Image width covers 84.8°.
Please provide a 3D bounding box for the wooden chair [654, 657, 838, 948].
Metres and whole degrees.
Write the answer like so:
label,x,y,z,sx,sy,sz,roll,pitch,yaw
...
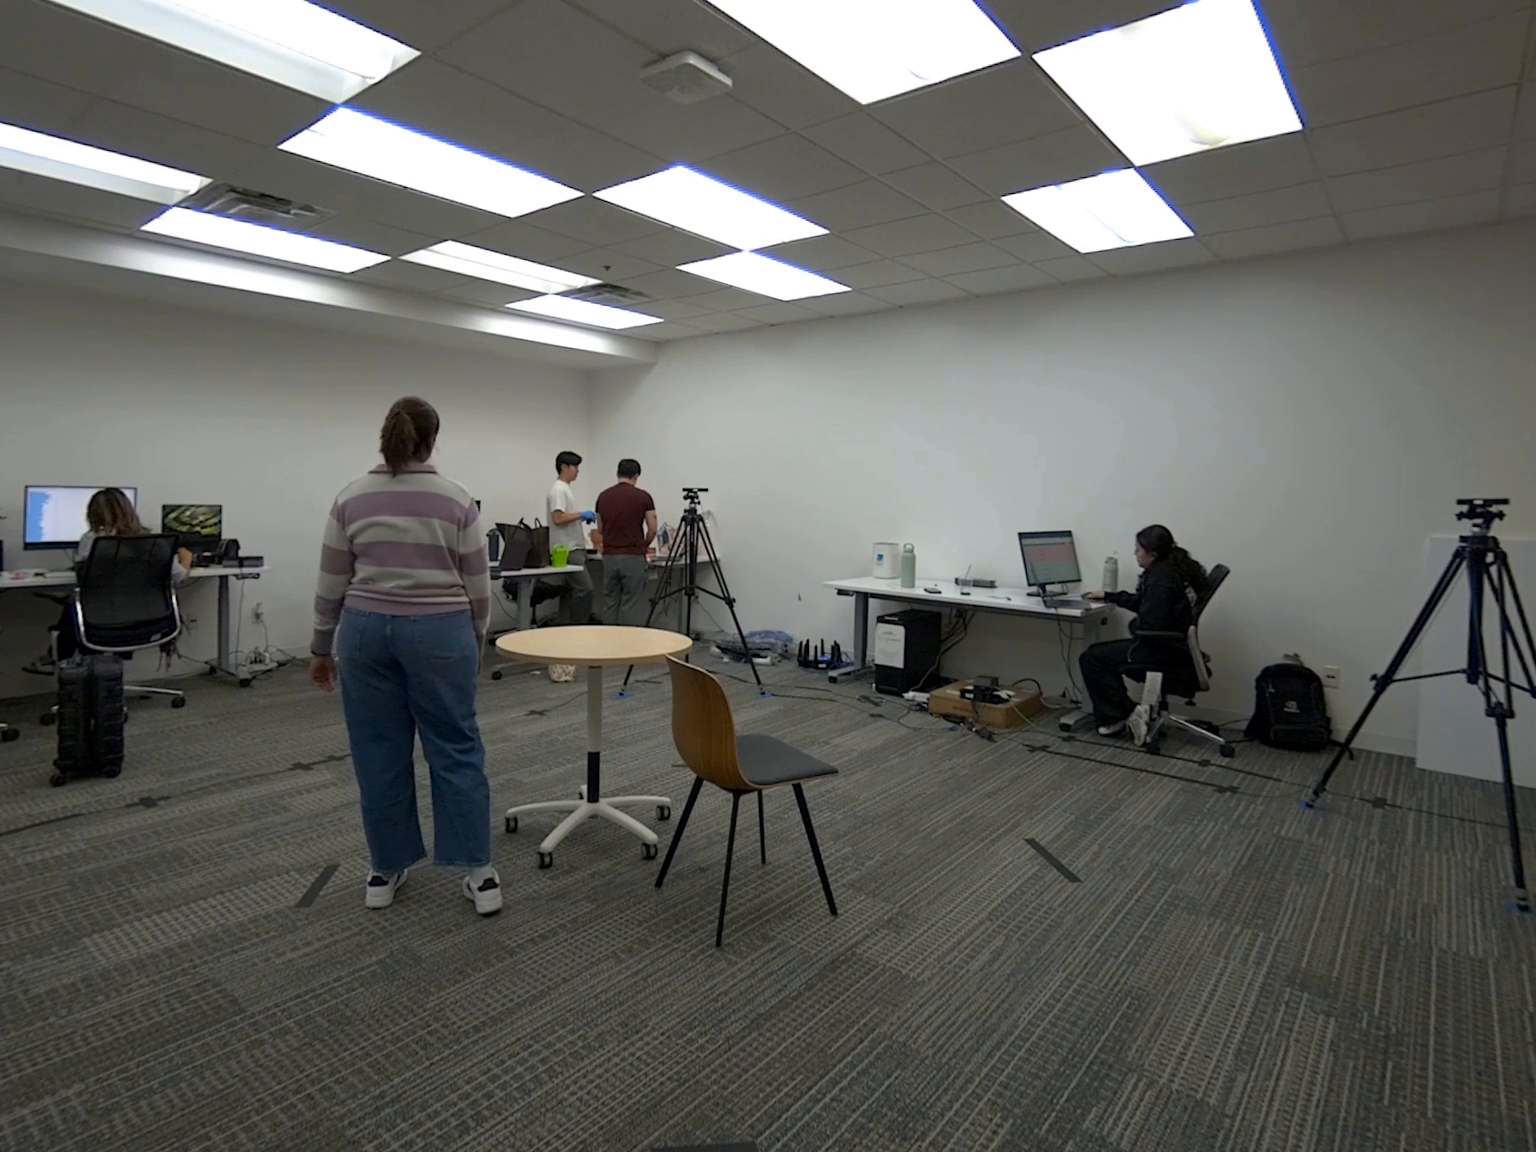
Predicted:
label,x,y,z,sx,sy,sz,roll,pitch,yaw
wooden chair,-0.072,0.673,2.848,0.510,0.873,0.493,-6,6,-31
